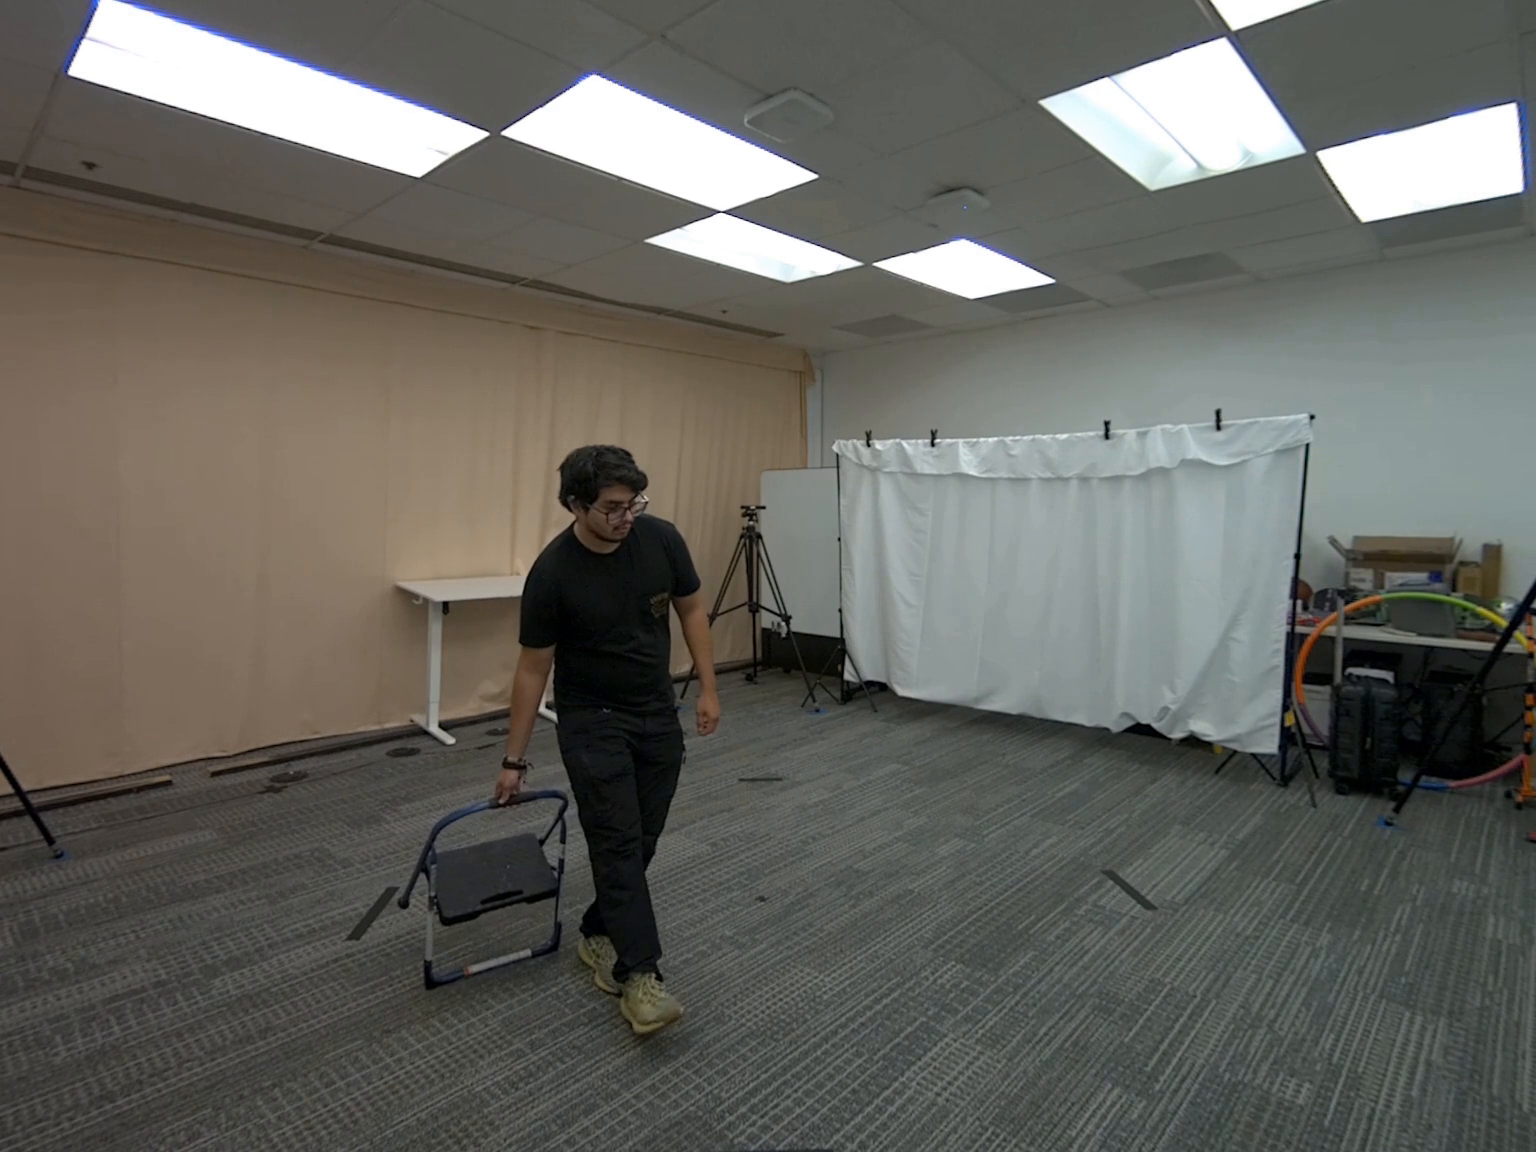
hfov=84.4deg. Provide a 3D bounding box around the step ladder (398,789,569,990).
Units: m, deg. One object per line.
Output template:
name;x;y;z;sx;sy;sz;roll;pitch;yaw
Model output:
step ladder;-0.850;0.850;2.546;0.419;0.601;0.362;-4;33;-33
